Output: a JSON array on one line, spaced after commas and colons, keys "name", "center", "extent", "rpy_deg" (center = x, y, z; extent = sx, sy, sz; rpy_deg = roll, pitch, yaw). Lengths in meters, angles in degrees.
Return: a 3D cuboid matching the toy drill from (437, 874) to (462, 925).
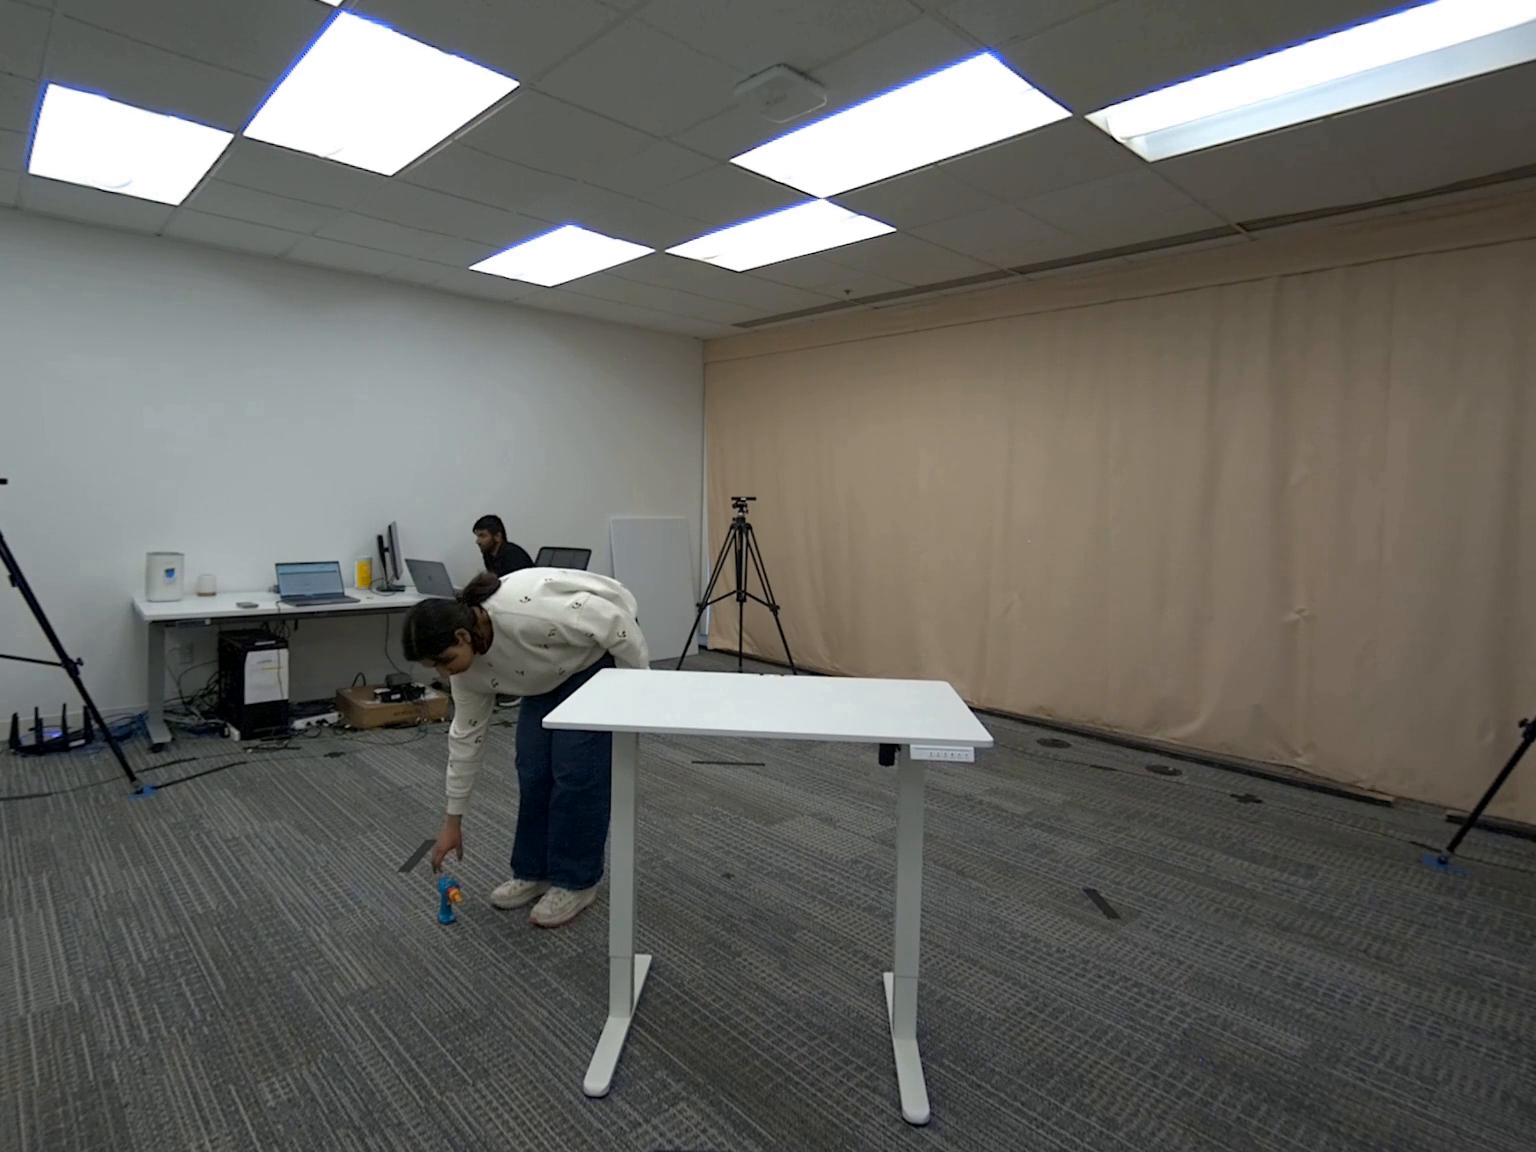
[{"name": "toy drill", "center": [-1.028, 1.054, 2.702], "extent": [0.060, 0.146, 0.174], "rpy_deg": [0, 5, -39]}]
